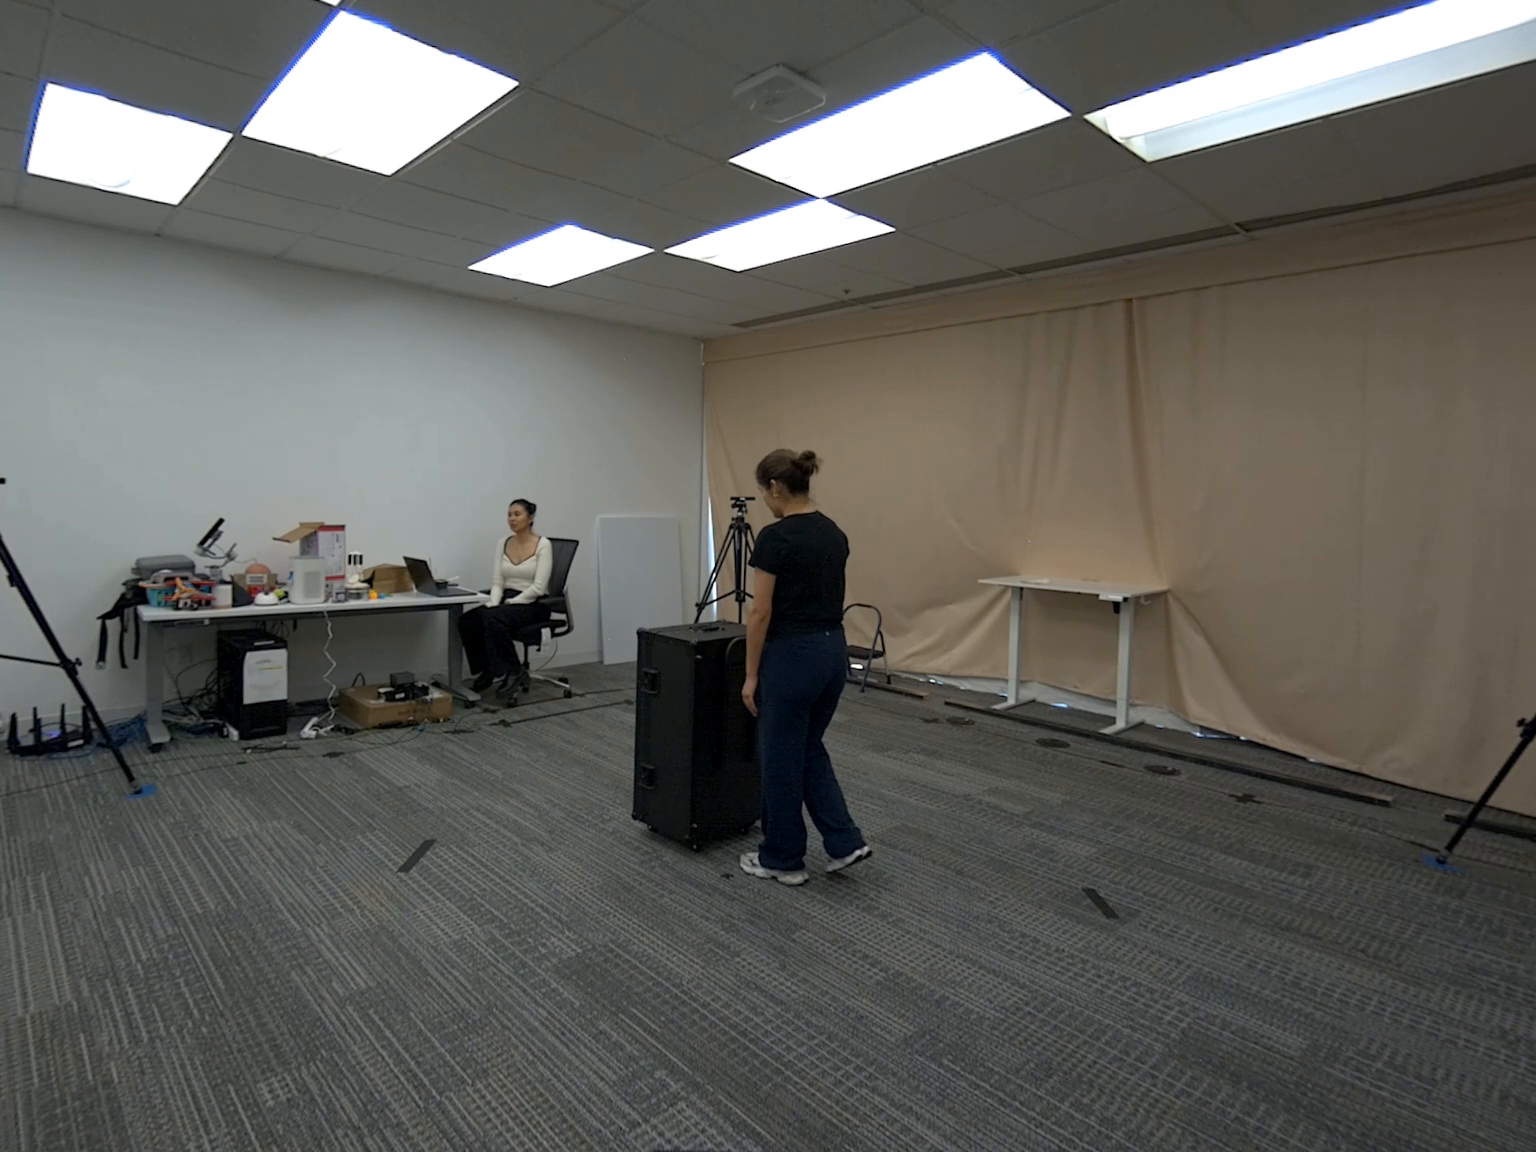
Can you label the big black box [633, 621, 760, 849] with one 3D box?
[{"bbox_3d":[-0.248,0.649,3.465,0.406,0.859,0.509,6,5,43],"label":"big black box"}]
